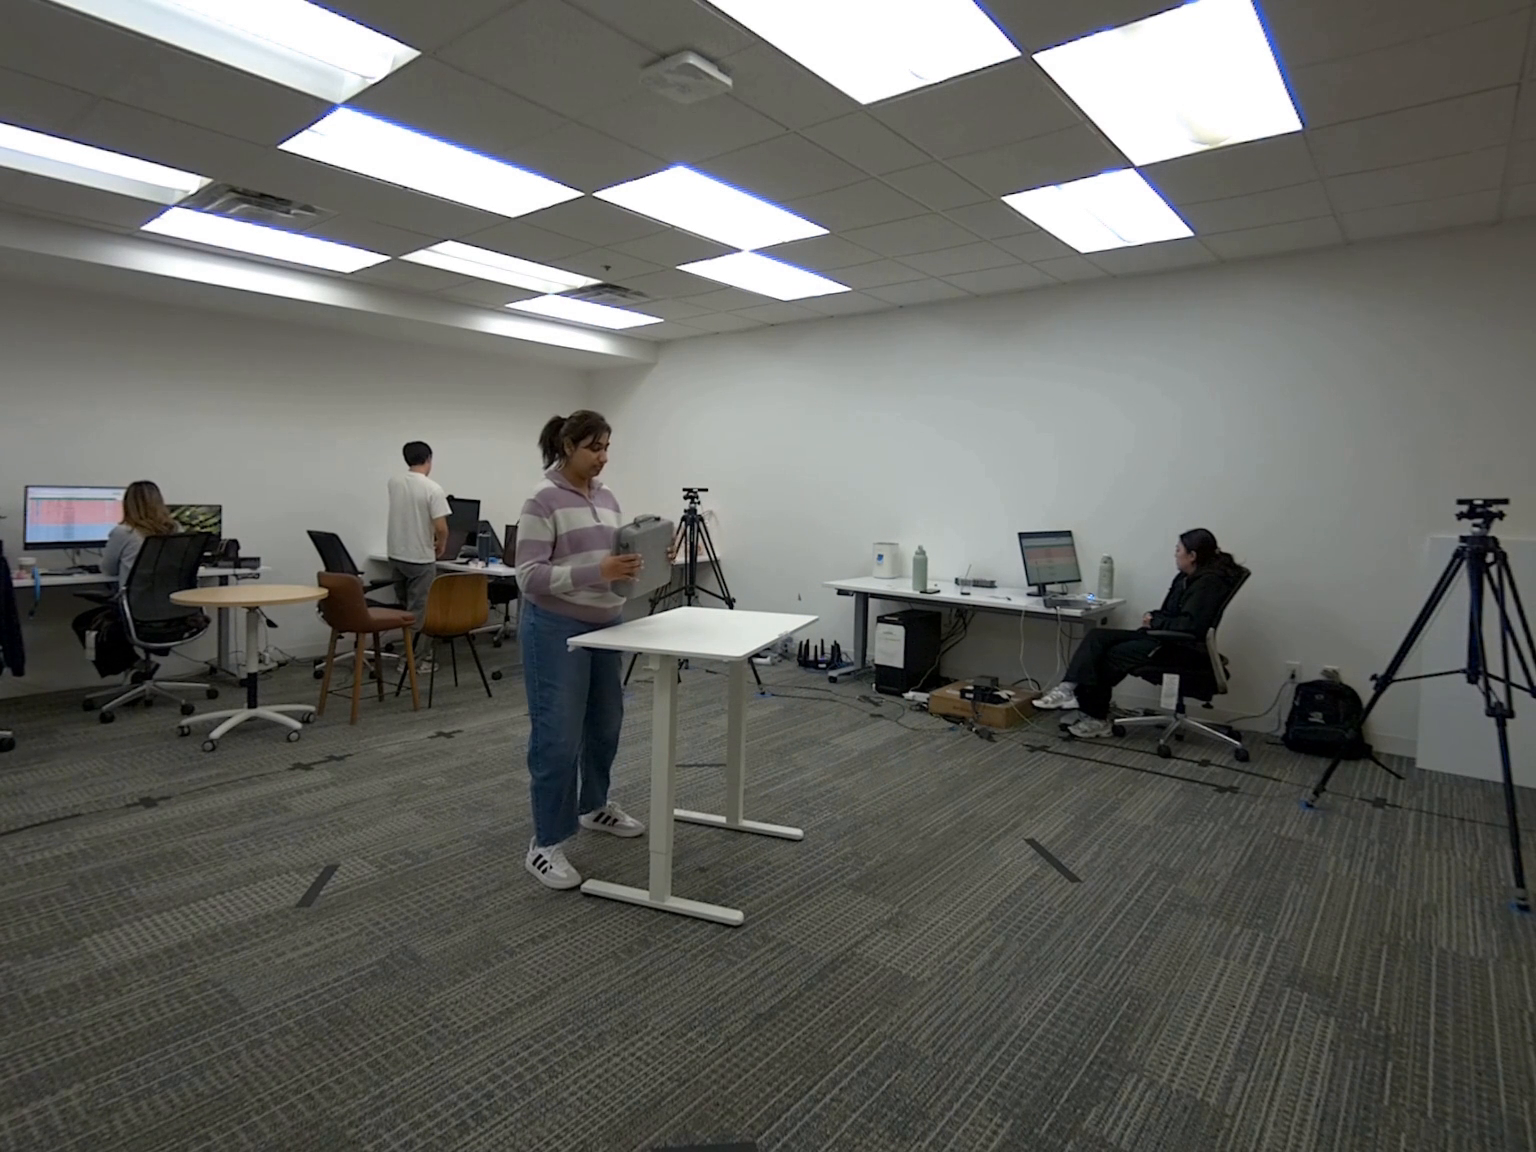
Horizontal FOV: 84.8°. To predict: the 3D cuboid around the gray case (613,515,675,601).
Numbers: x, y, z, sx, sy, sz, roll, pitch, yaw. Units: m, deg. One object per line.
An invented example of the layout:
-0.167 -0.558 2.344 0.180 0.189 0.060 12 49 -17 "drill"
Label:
-0.447 -0.073 3.024 0.107 0.256 0.253 13 21 25 "gray case"
